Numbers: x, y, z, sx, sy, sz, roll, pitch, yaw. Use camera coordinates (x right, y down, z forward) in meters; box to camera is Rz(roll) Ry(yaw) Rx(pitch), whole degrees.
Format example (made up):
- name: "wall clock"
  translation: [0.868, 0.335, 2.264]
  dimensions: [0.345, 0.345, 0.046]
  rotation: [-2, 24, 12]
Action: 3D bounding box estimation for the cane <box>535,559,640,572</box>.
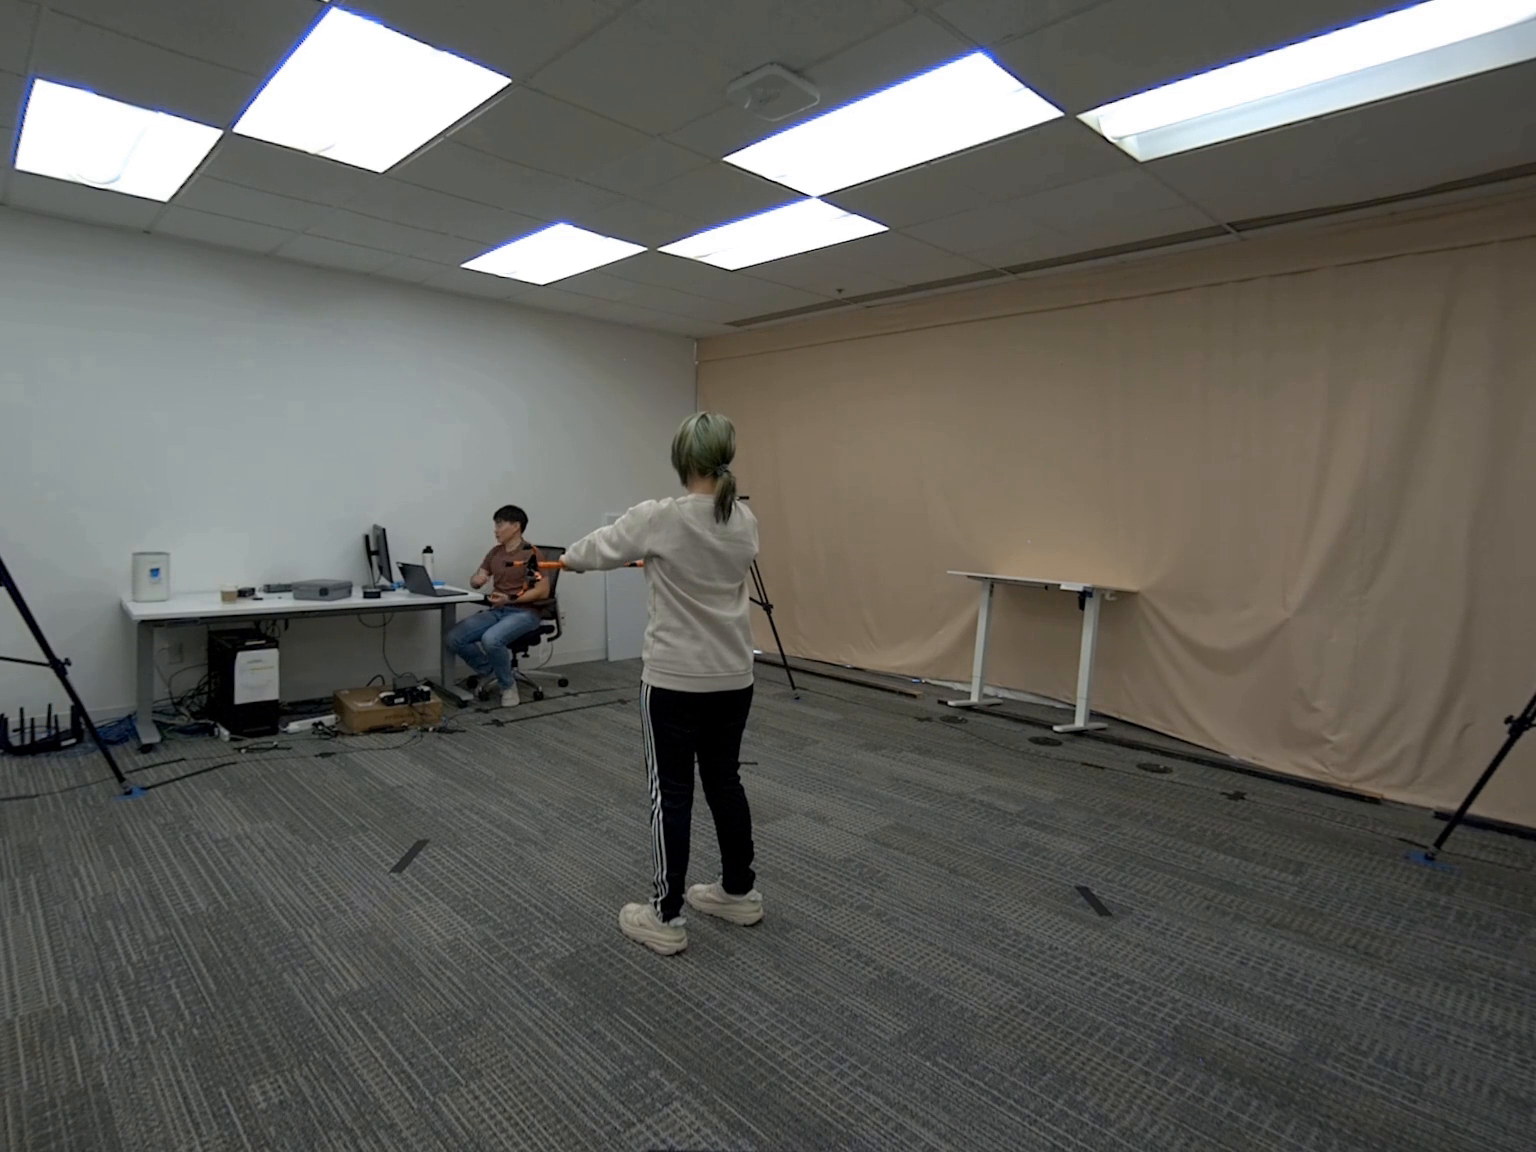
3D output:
- name: "cane"
  translation: [-0.527, -0.044, 3.136]
  dimensions: [0.888, 0.153, 0.208]
  rotation: [0, -17, -35]
